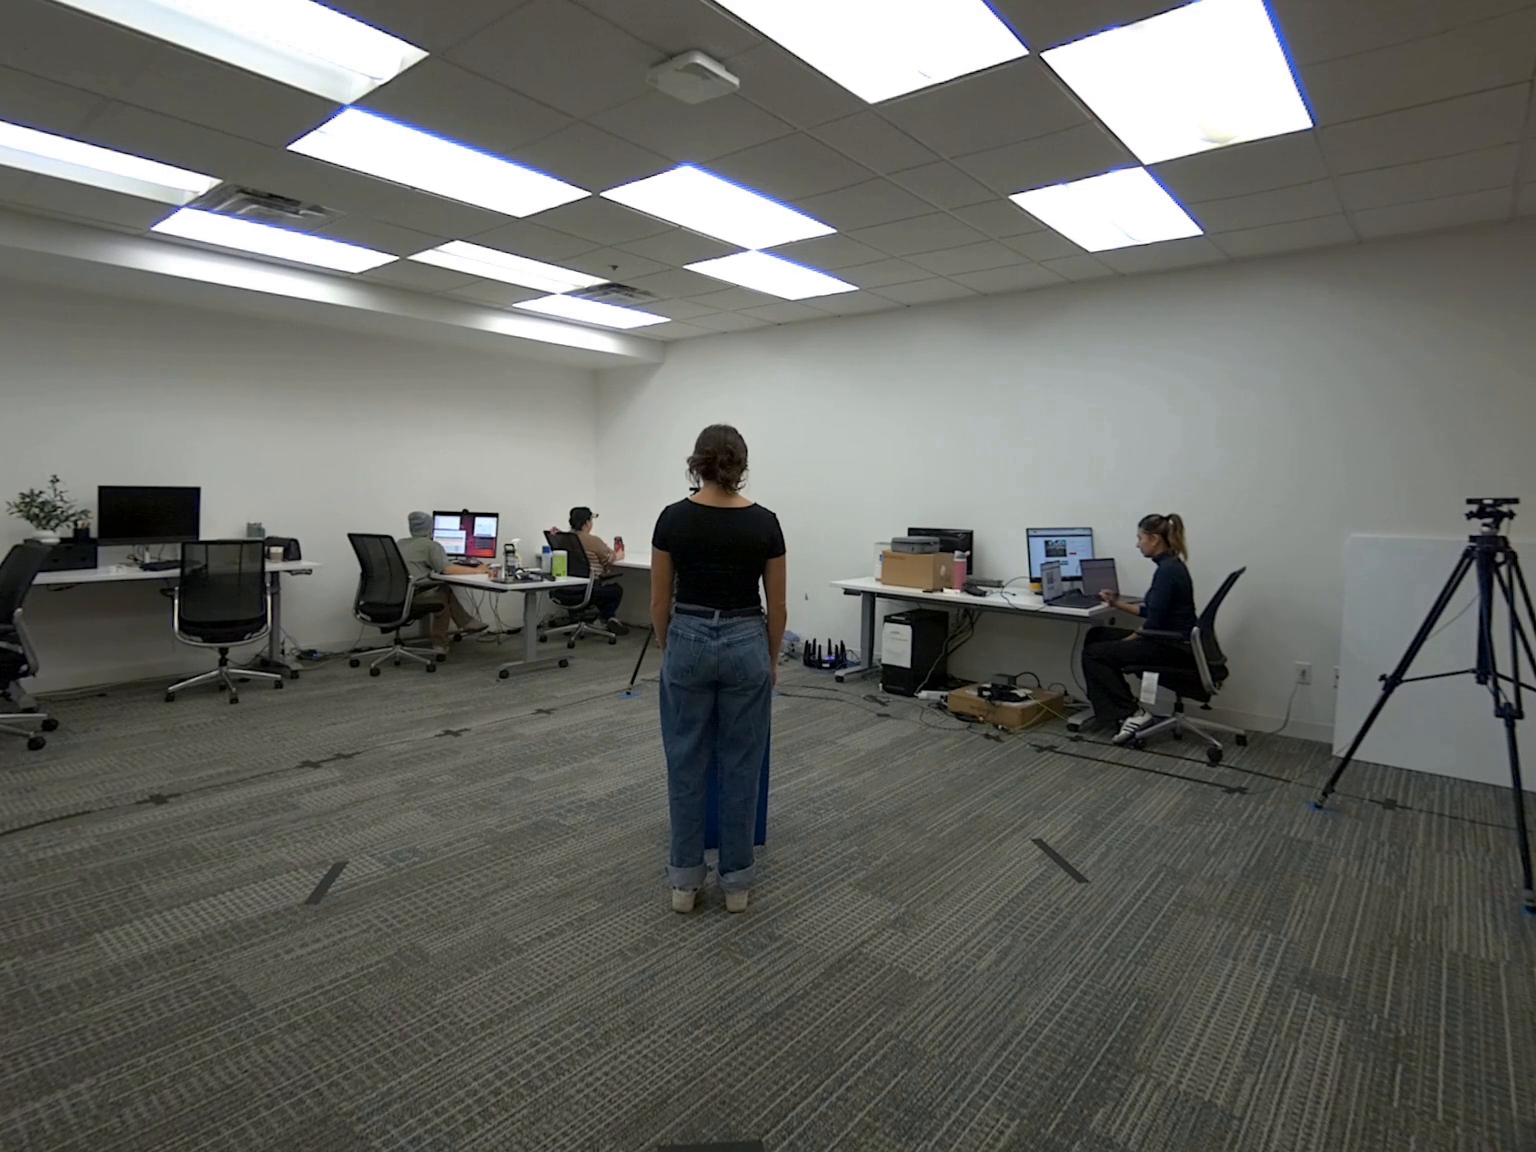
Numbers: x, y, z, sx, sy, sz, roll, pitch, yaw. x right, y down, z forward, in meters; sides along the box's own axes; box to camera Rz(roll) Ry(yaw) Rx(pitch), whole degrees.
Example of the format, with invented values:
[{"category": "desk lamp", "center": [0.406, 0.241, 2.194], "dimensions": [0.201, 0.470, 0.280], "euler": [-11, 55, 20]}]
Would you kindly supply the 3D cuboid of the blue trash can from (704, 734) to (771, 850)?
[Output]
[{"category": "blue trash can", "center": [-0.193, 0.677, 3.418], "dimensions": [0.369, 0.712, 0.384], "euler": [1, 3, -14]}]
